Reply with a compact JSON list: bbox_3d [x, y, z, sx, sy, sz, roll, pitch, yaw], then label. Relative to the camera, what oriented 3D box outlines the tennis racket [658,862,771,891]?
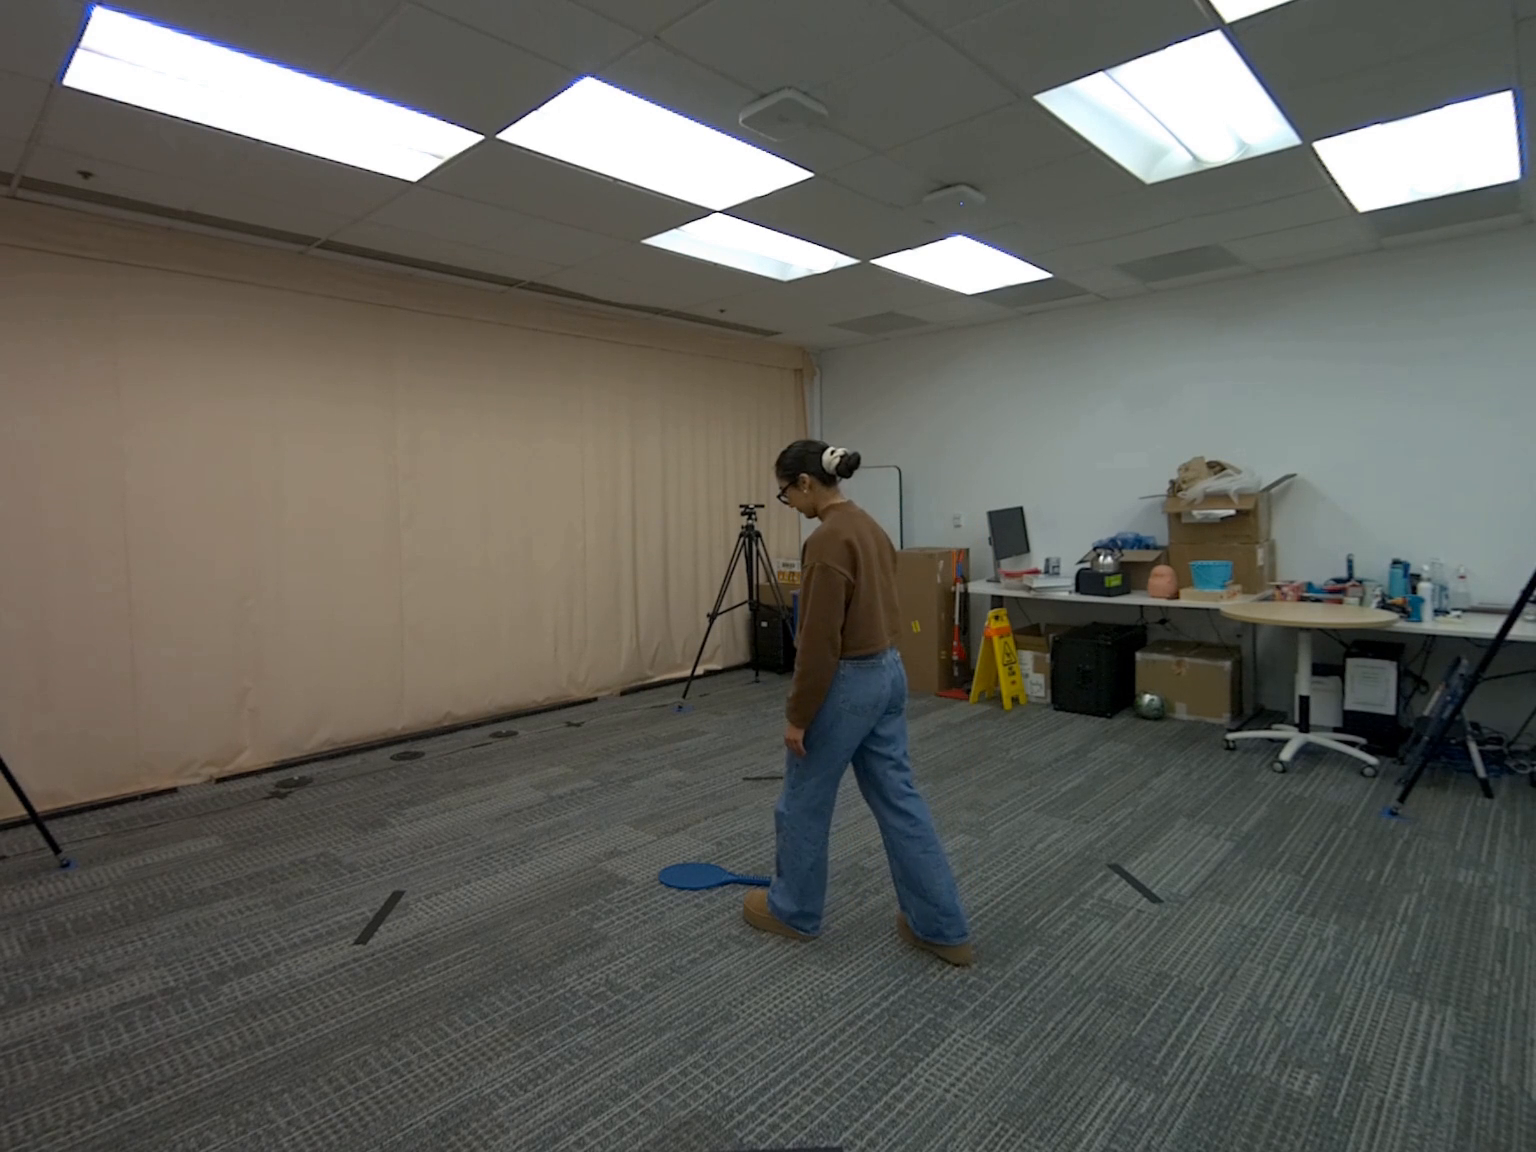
[{"bbox_3d":[-0.198,1.116,3.128,0.440,0.031,0.210,-1,5,16],"label":"tennis racket"}]
